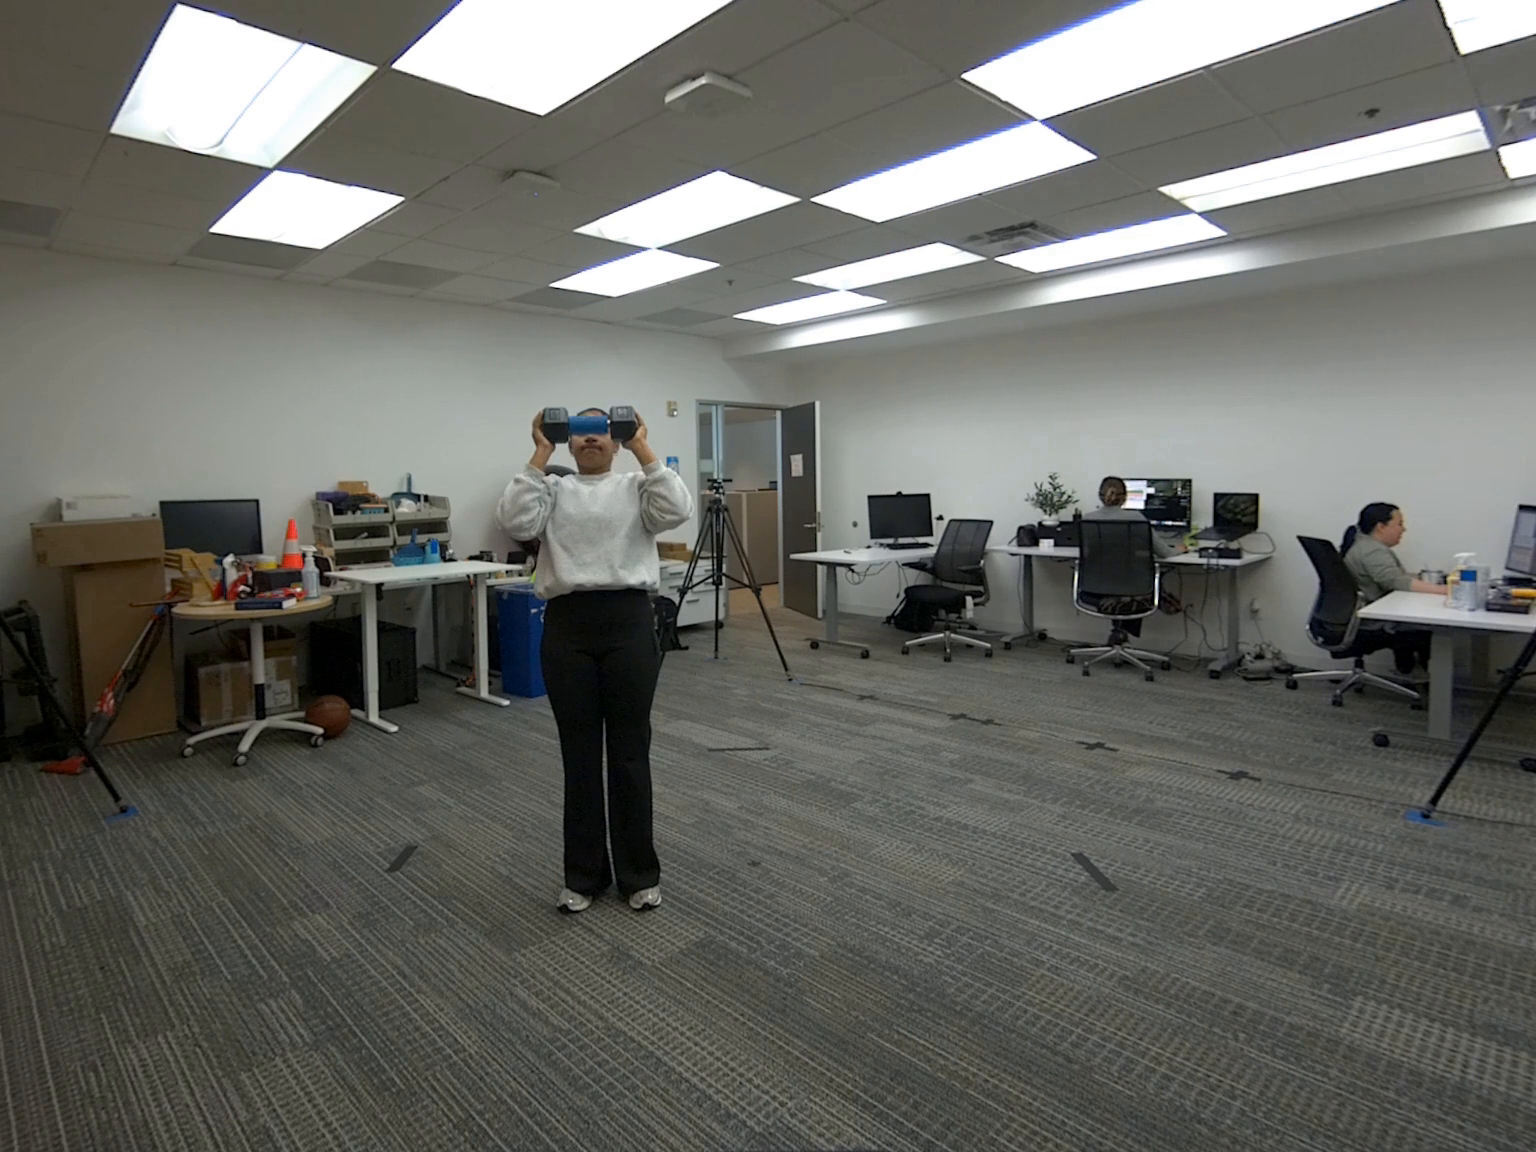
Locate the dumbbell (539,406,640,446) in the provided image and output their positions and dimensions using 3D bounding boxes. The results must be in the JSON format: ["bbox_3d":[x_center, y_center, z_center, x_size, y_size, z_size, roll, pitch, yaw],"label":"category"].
[{"bbox_3d":[-0.576,-0.489,2.741,0.291,0.120,0.112,-4,37,-10],"label":"dumbbell"}]
